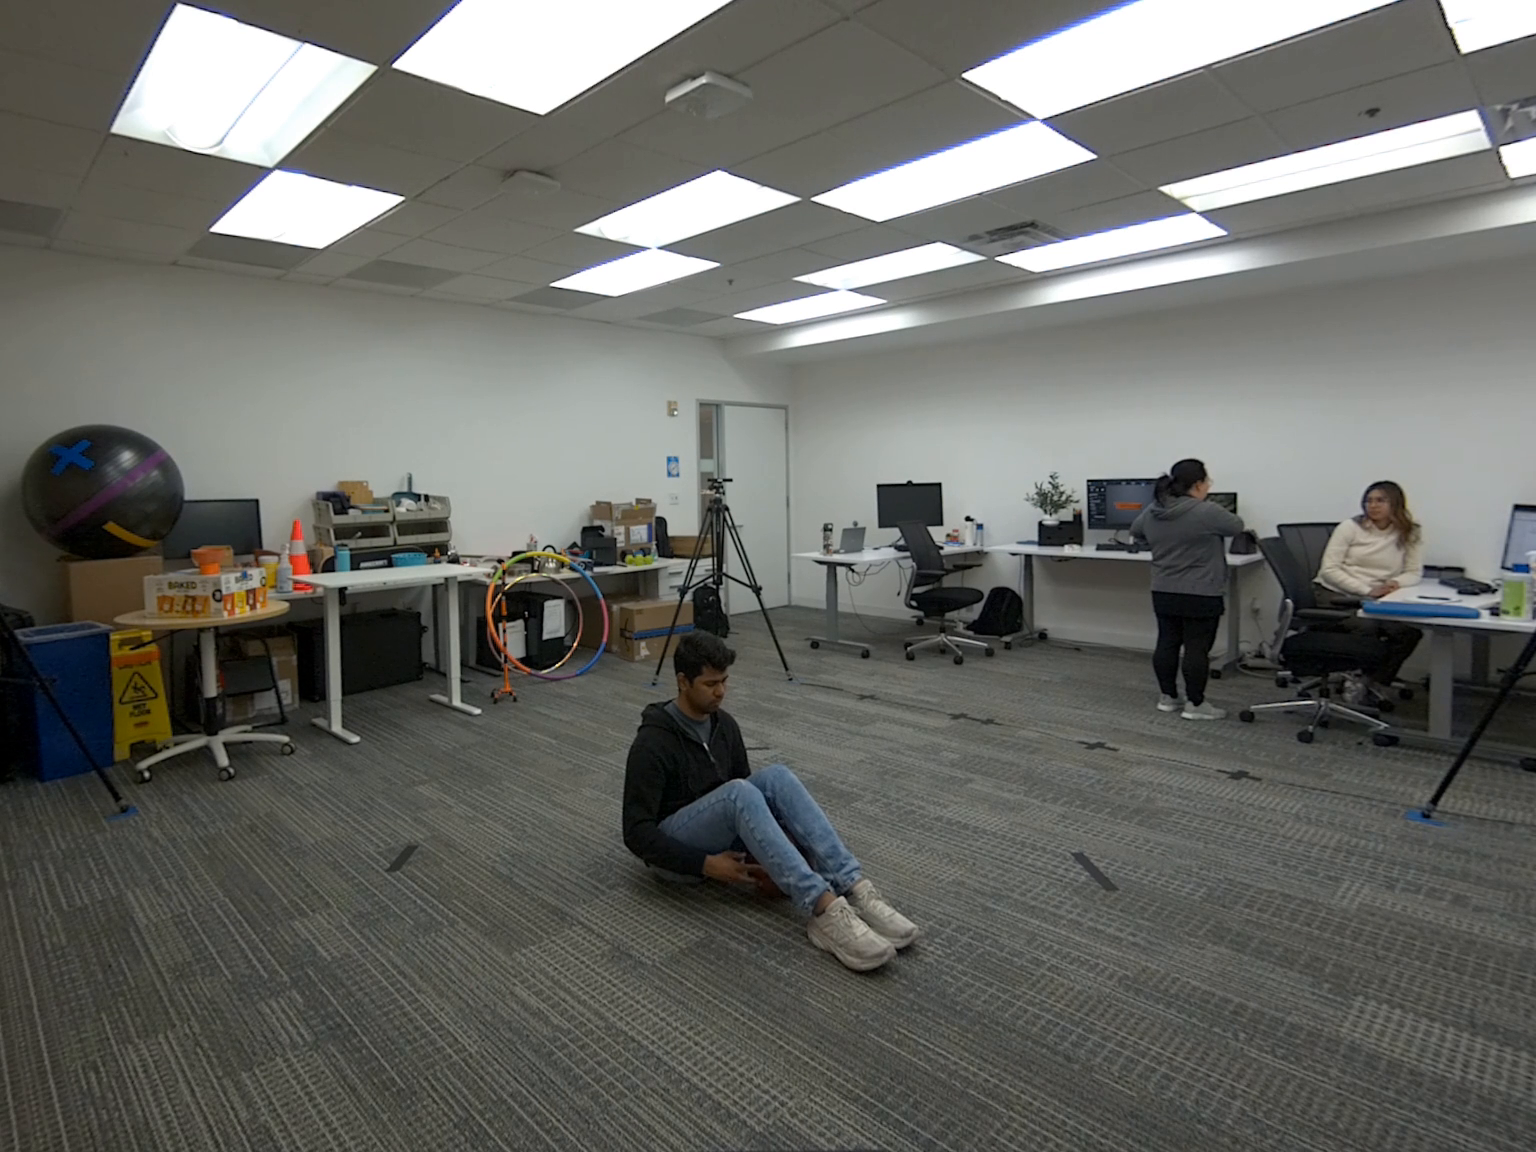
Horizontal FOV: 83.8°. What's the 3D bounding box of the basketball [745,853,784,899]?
[{"bbox_3d":[0.044,0.947,2.870,0.236,0.235,0.237,-1,5,-2],"label":"basketball"}]
